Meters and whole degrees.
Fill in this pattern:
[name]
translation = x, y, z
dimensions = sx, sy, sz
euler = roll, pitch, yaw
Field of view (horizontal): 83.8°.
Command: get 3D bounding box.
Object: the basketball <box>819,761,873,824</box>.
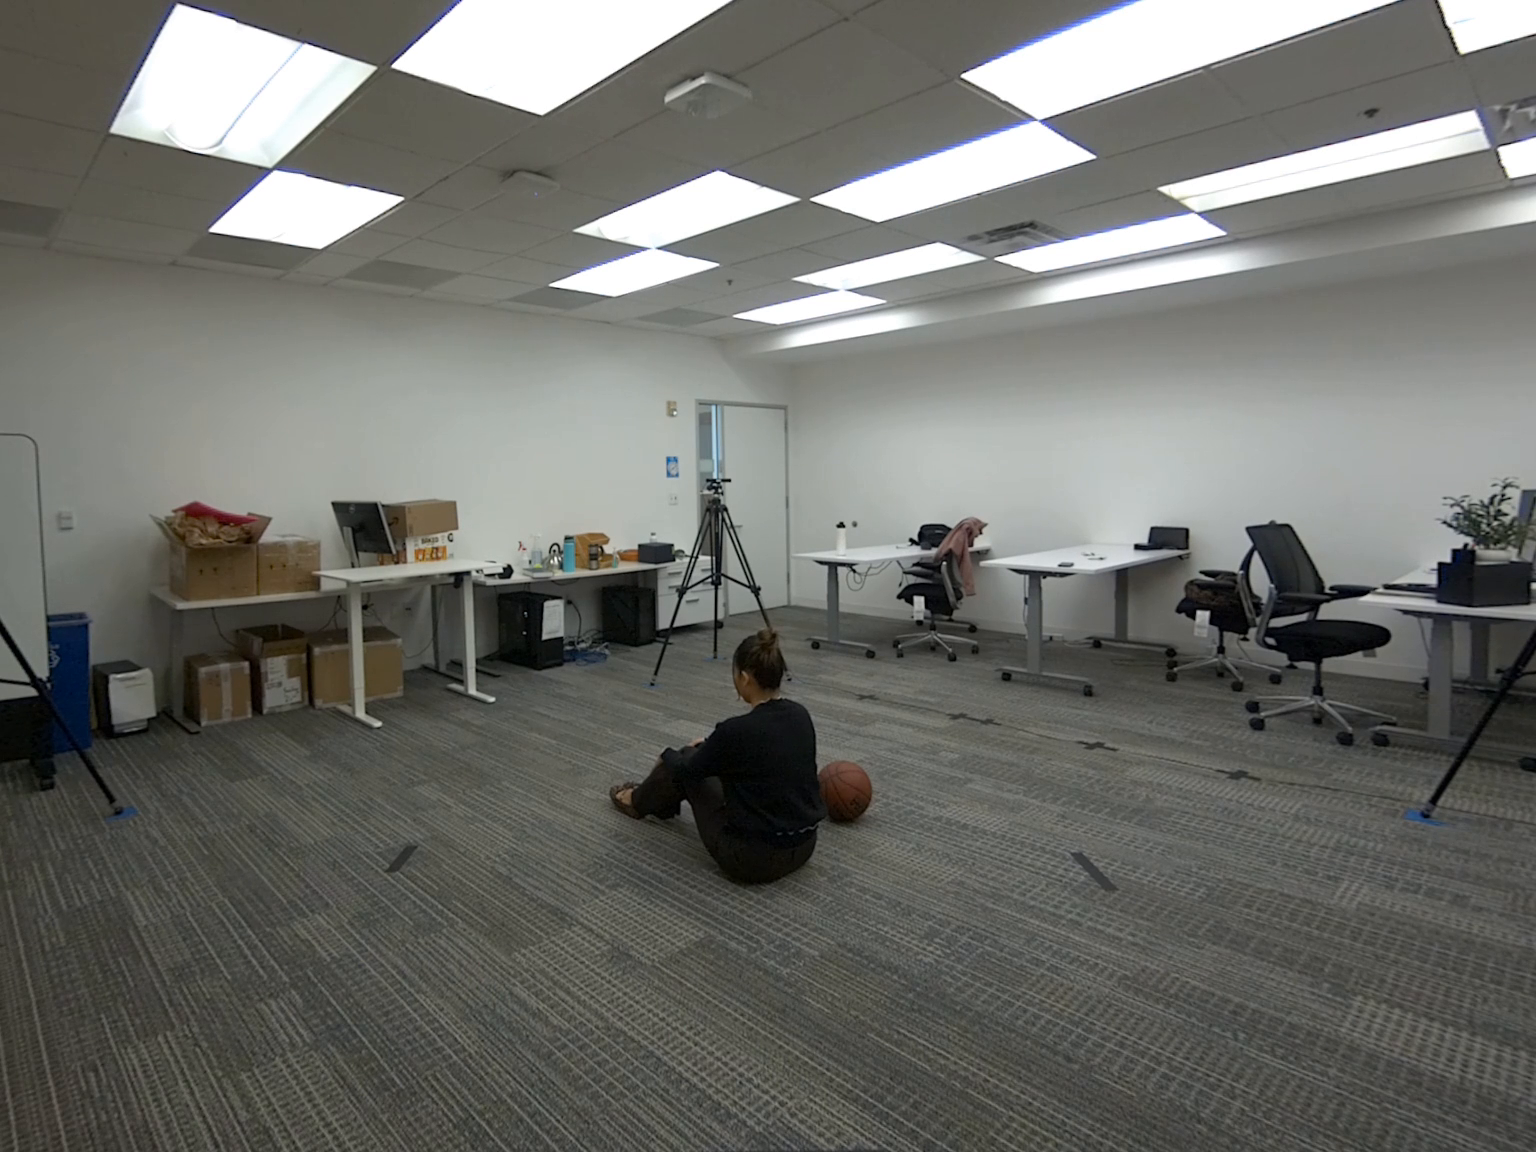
[basketball]
translation = 0.310, 0.875, 3.500
dimensions = 0.236, 0.235, 0.237
euler = -1, 5, -2
